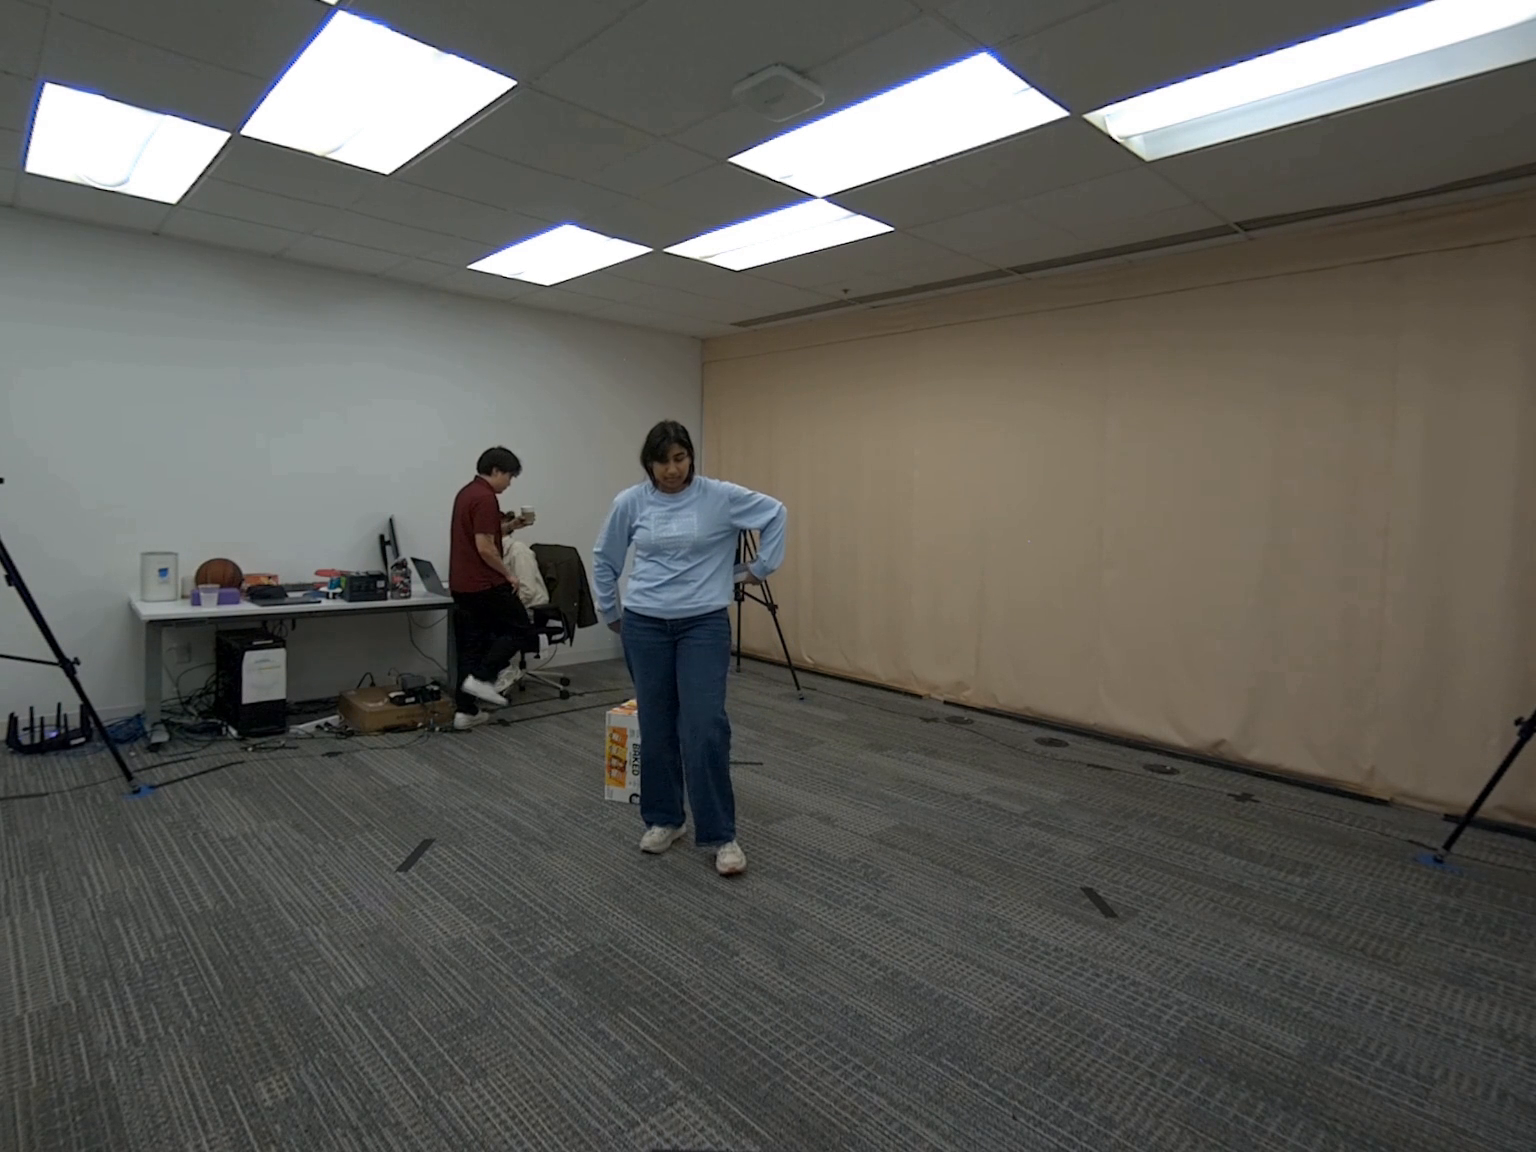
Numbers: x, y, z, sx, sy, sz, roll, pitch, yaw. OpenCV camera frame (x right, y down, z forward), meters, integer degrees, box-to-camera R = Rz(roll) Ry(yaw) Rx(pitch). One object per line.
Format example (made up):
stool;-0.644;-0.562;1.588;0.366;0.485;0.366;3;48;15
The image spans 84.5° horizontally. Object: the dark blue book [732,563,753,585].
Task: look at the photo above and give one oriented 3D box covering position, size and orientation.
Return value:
dark blue book;-0.114;-0.016;3.468;0.247;0.045;0.164;-18;12;13
